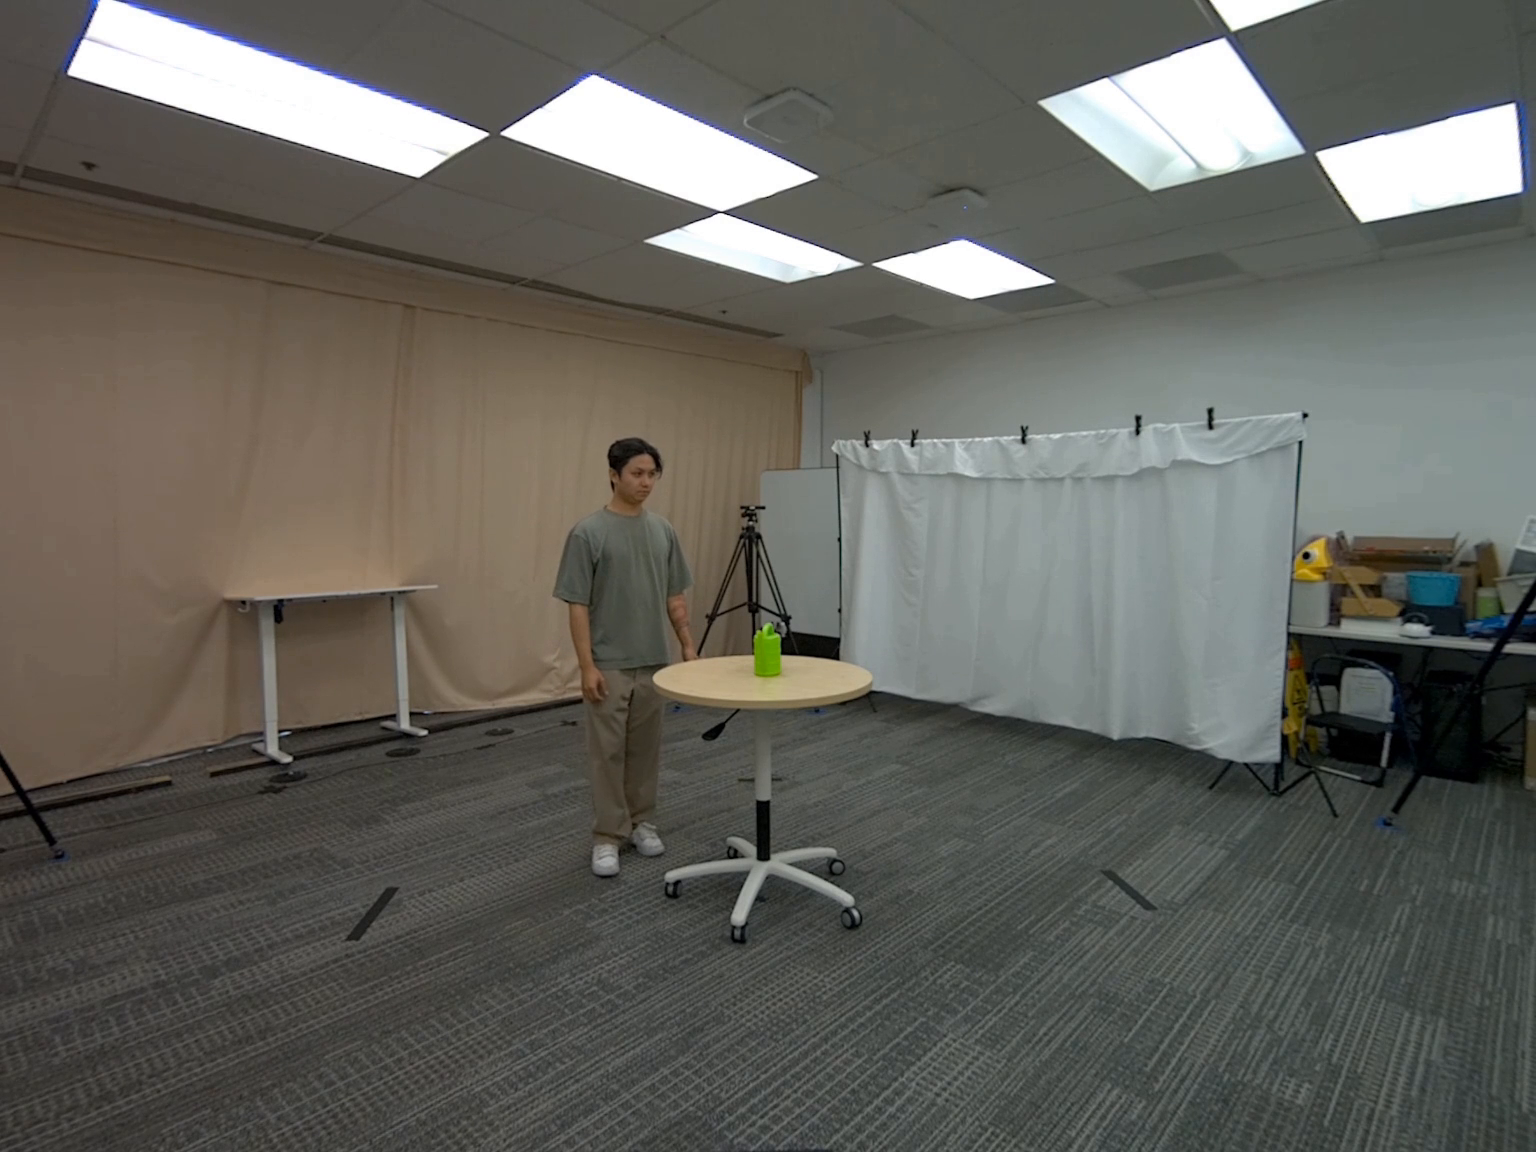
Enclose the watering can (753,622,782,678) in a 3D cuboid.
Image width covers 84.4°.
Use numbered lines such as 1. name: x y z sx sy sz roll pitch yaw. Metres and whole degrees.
1. watering can: -0.016 0.262 2.943 0.101 0.177 0.271 1 2 28
